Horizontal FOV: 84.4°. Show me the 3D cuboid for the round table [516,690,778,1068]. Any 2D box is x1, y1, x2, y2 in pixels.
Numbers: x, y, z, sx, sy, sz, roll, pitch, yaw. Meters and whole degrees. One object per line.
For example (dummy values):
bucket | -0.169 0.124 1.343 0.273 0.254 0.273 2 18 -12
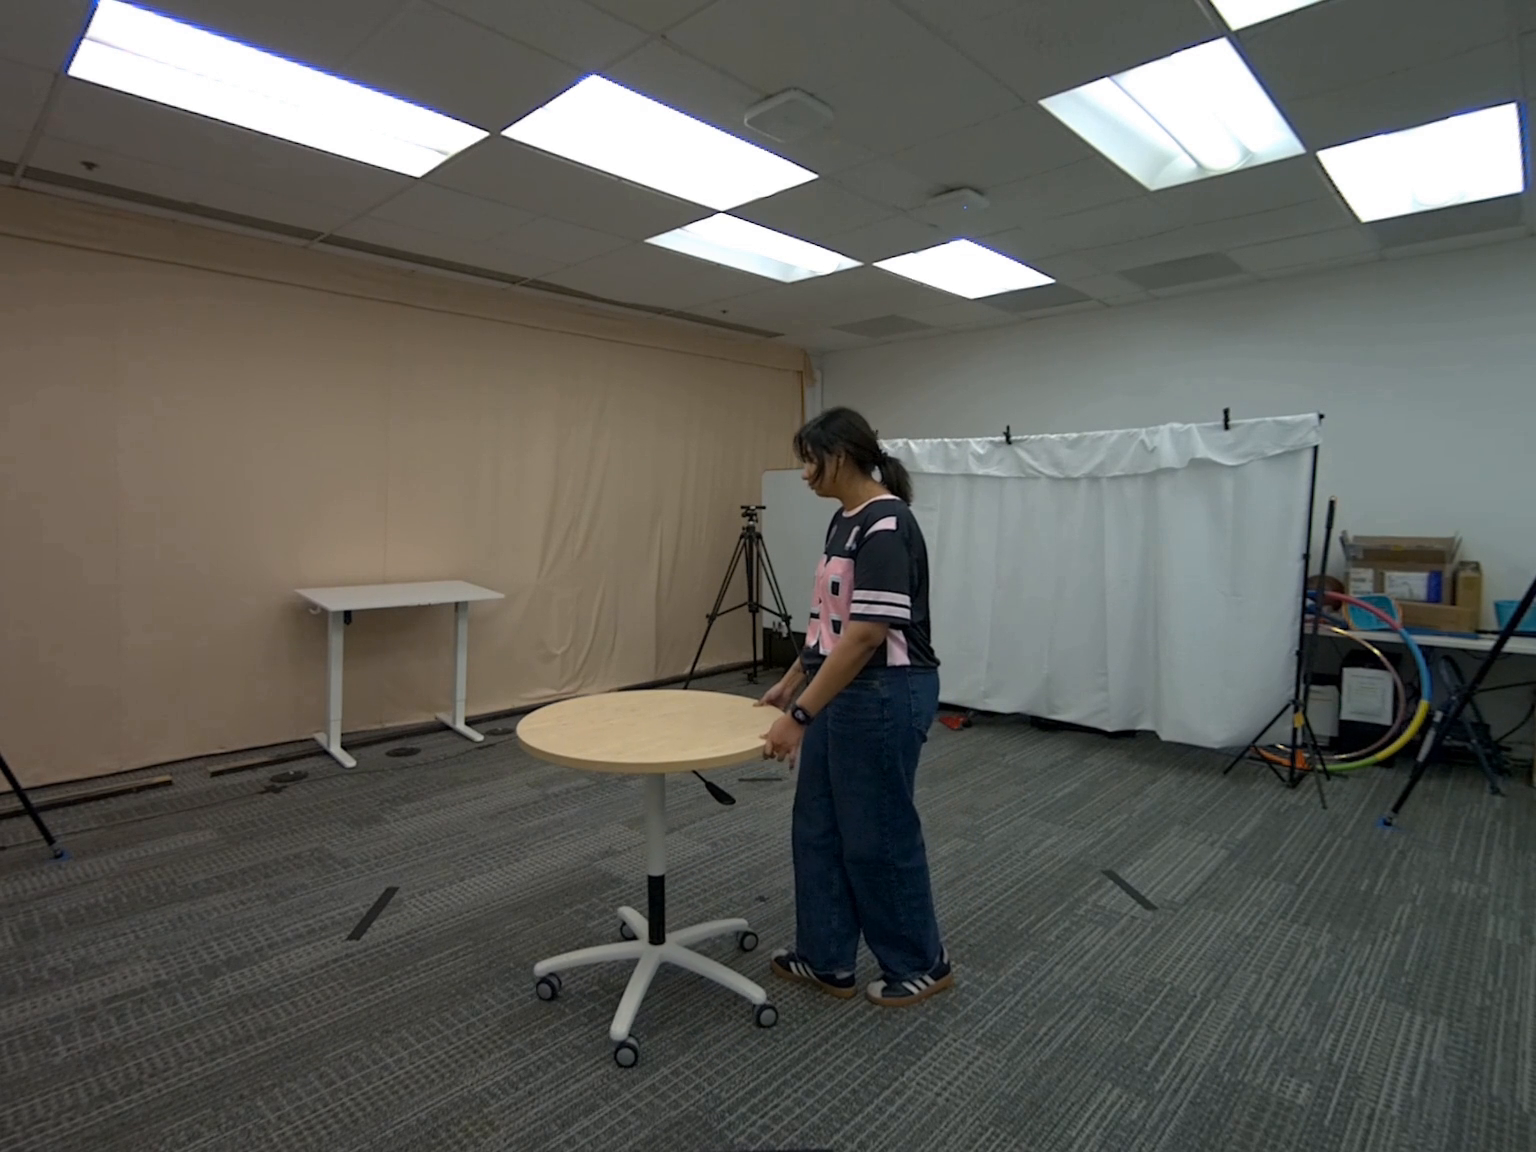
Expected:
round table | -0.319 0.808 2.417 0.763 0.792 0.766 -1 4 -2
